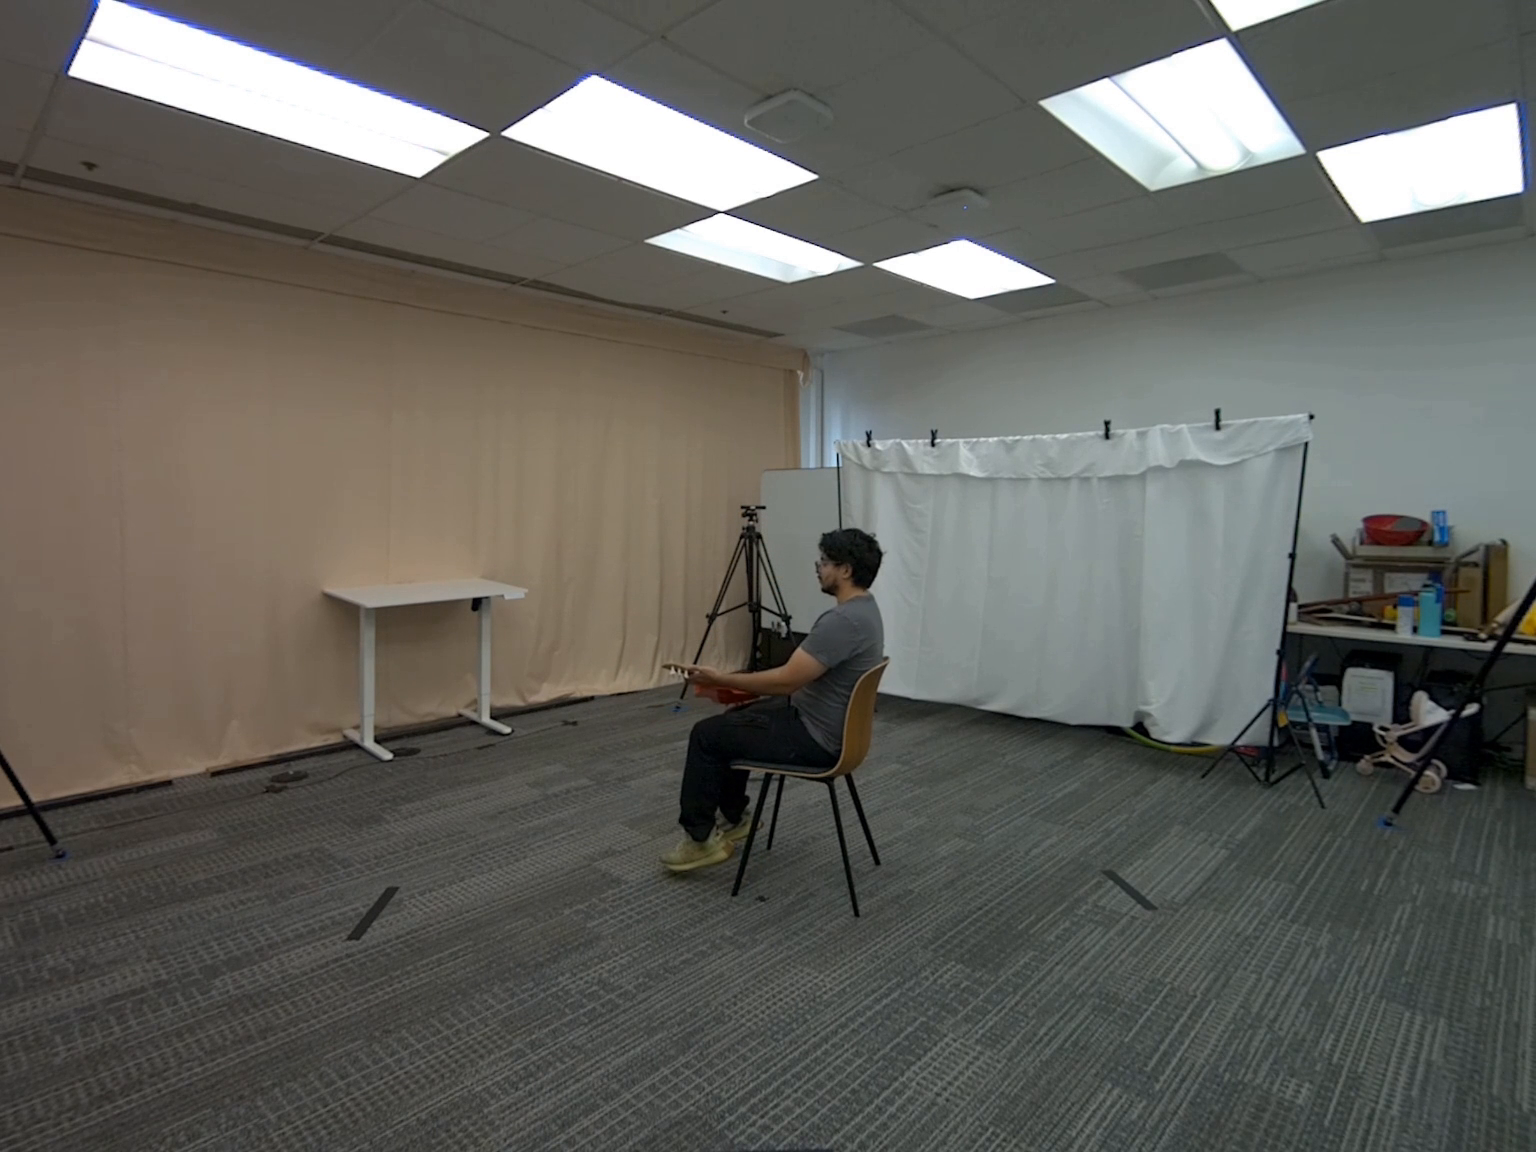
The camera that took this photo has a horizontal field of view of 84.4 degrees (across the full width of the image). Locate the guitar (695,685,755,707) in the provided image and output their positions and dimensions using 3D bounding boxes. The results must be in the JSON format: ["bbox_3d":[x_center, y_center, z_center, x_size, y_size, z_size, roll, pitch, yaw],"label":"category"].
[{"bbox_3d":[-0.240,0.400,3.118,0.197,0.072,0.480,-19,-26,37],"label":"guitar"}]
